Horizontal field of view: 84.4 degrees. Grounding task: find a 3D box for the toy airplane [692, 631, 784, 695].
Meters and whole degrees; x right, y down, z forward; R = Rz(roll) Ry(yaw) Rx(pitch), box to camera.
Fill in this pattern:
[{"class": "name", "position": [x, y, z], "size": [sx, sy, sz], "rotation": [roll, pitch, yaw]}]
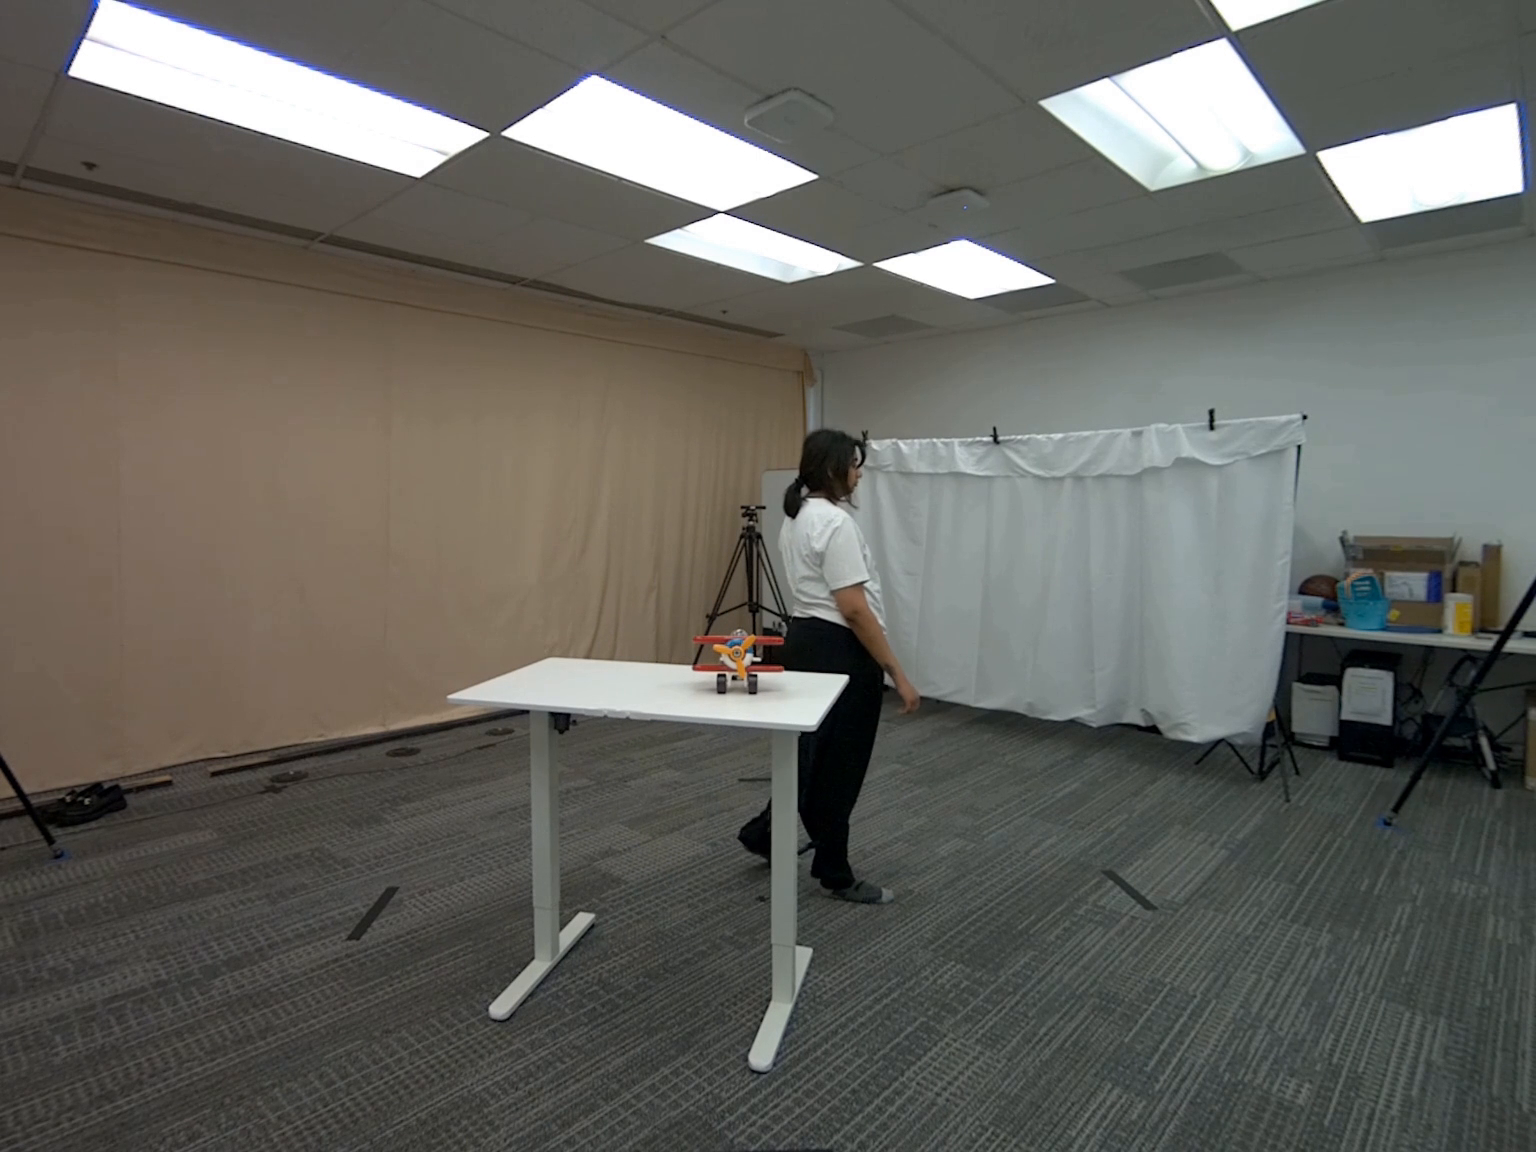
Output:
[{"class": "toy airplane", "position": [-0.099, 0.236, 2.391], "size": [0.246, 0.156, 0.266], "rotation": [-3, 8, -23]}]
